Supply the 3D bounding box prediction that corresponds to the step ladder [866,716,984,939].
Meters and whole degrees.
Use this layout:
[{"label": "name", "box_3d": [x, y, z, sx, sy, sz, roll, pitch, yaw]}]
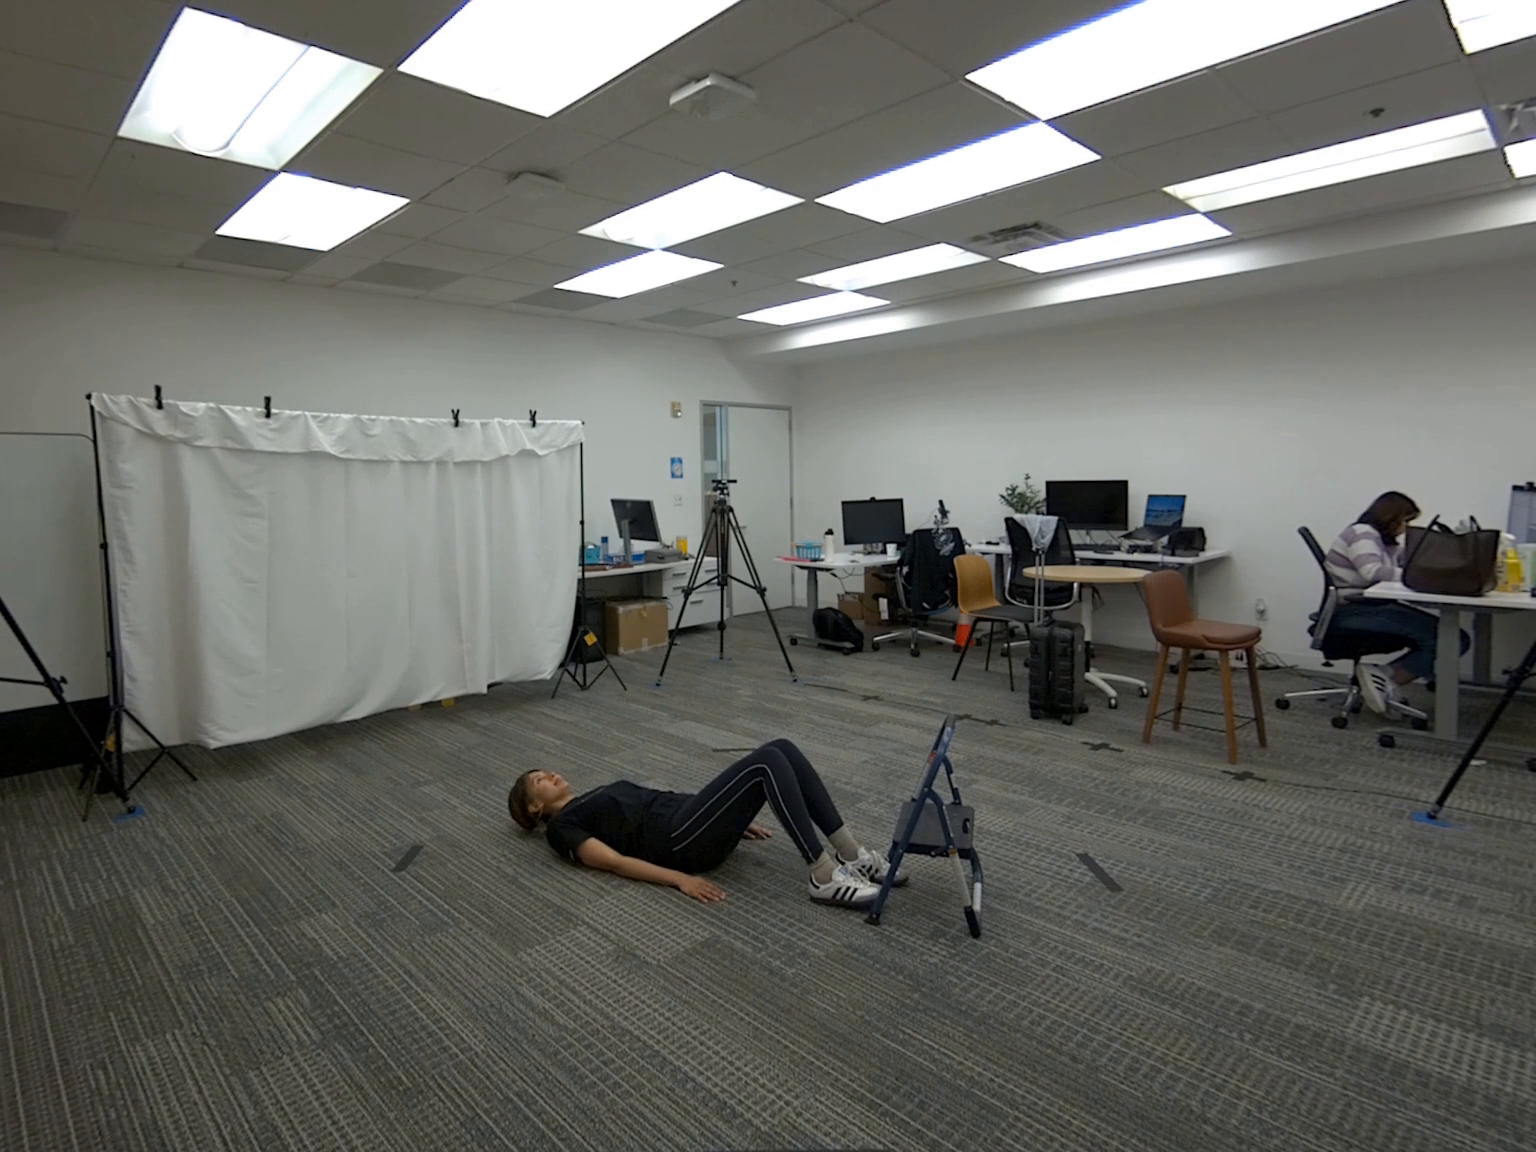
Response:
[{"label": "step ladder", "box_3d": [0.524, 0.766, 2.802, 0.355, 0.604, 0.425, 0, 4, 16]}]
